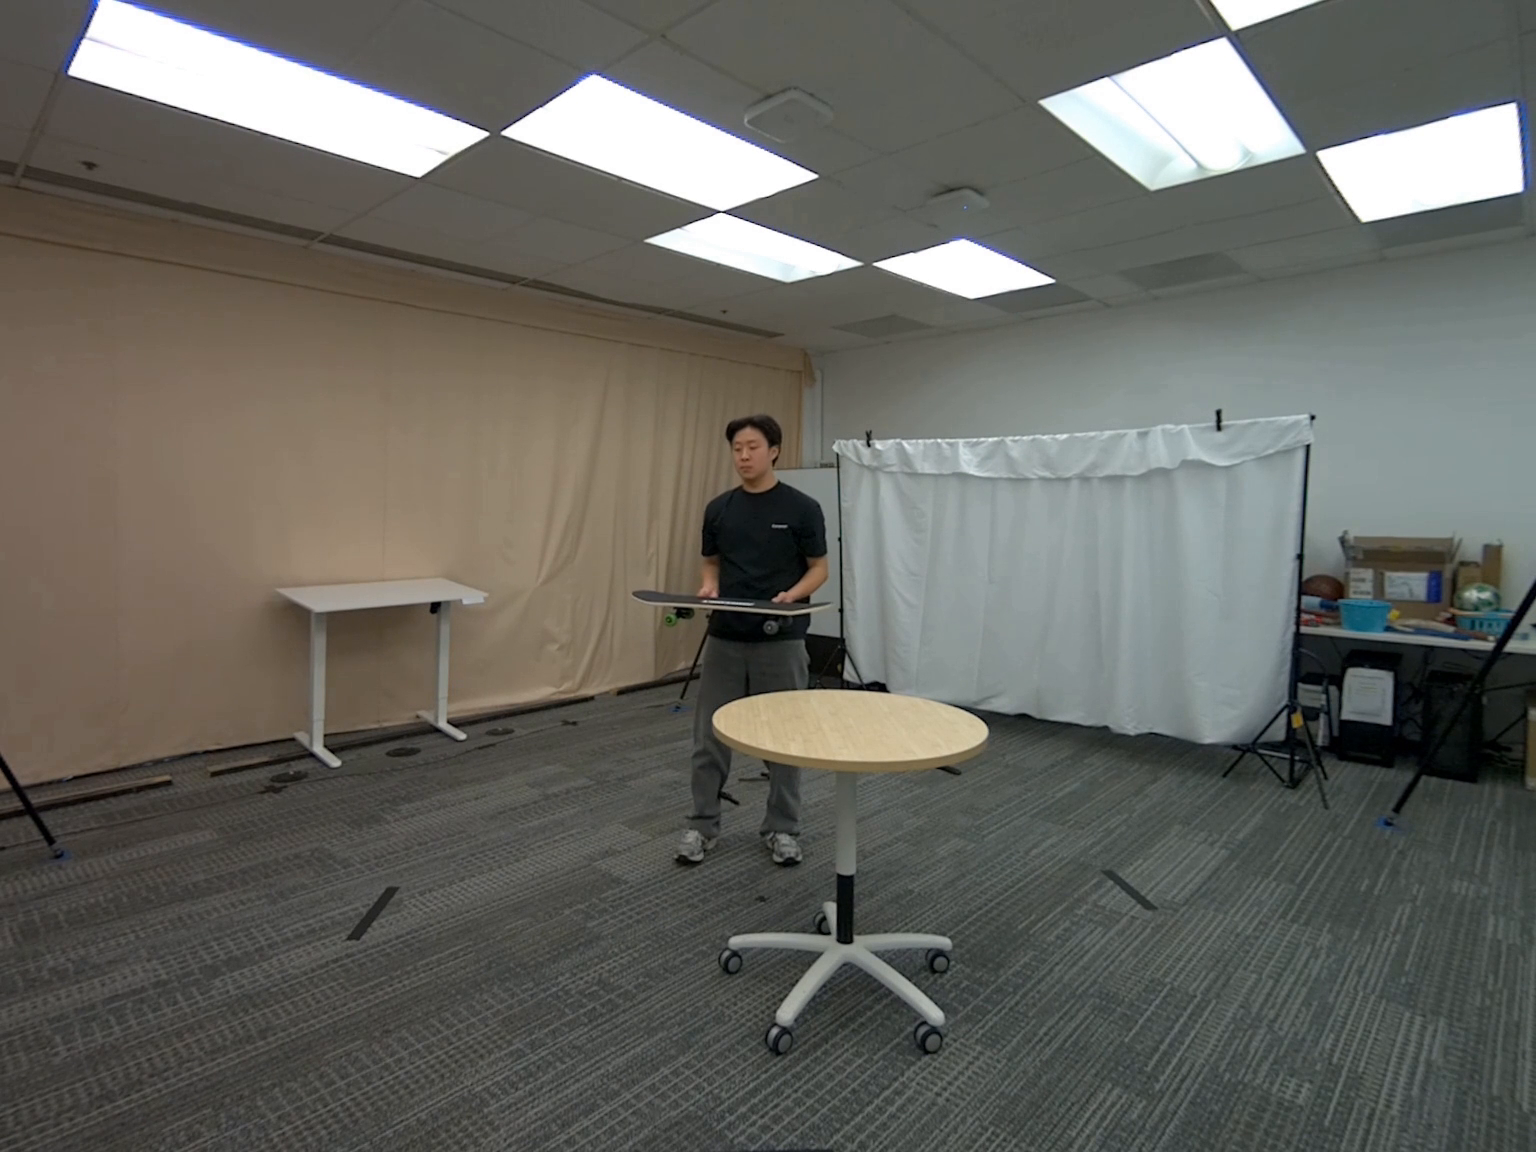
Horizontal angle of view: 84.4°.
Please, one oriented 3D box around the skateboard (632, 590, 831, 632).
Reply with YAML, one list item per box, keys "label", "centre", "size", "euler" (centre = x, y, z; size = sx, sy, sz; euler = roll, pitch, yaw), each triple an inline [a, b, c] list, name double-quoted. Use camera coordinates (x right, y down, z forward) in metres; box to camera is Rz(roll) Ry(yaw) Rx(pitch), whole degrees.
- label: "skateboard"
  centre: [-0.171, 0.135, 3.108]
  size: [0.805, 0.110, 0.189]
  euler: [4, 7, 24]
